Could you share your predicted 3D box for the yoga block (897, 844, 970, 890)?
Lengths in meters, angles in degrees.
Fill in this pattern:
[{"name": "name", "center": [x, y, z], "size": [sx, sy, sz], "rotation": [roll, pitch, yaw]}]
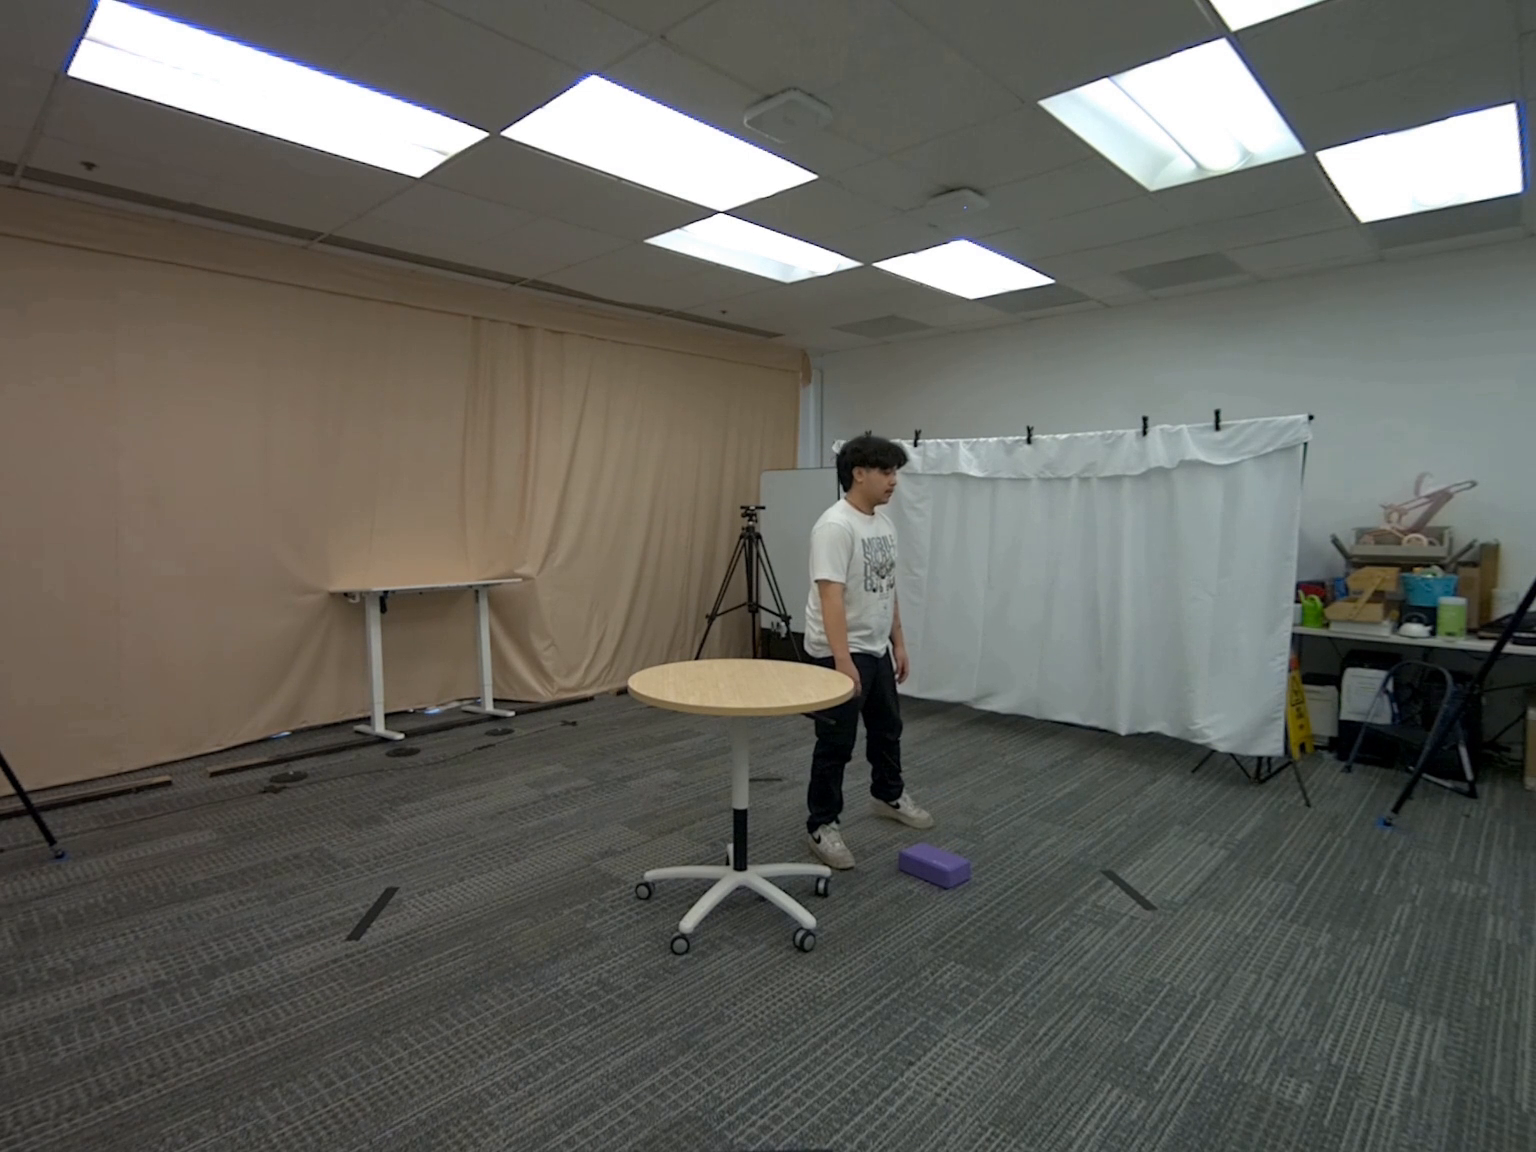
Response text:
[{"name": "yoga block", "center": [0.626, 1.086, 3.172], "size": [0.144, 0.076, 0.237], "rotation": [-3, 7, -42]}]
